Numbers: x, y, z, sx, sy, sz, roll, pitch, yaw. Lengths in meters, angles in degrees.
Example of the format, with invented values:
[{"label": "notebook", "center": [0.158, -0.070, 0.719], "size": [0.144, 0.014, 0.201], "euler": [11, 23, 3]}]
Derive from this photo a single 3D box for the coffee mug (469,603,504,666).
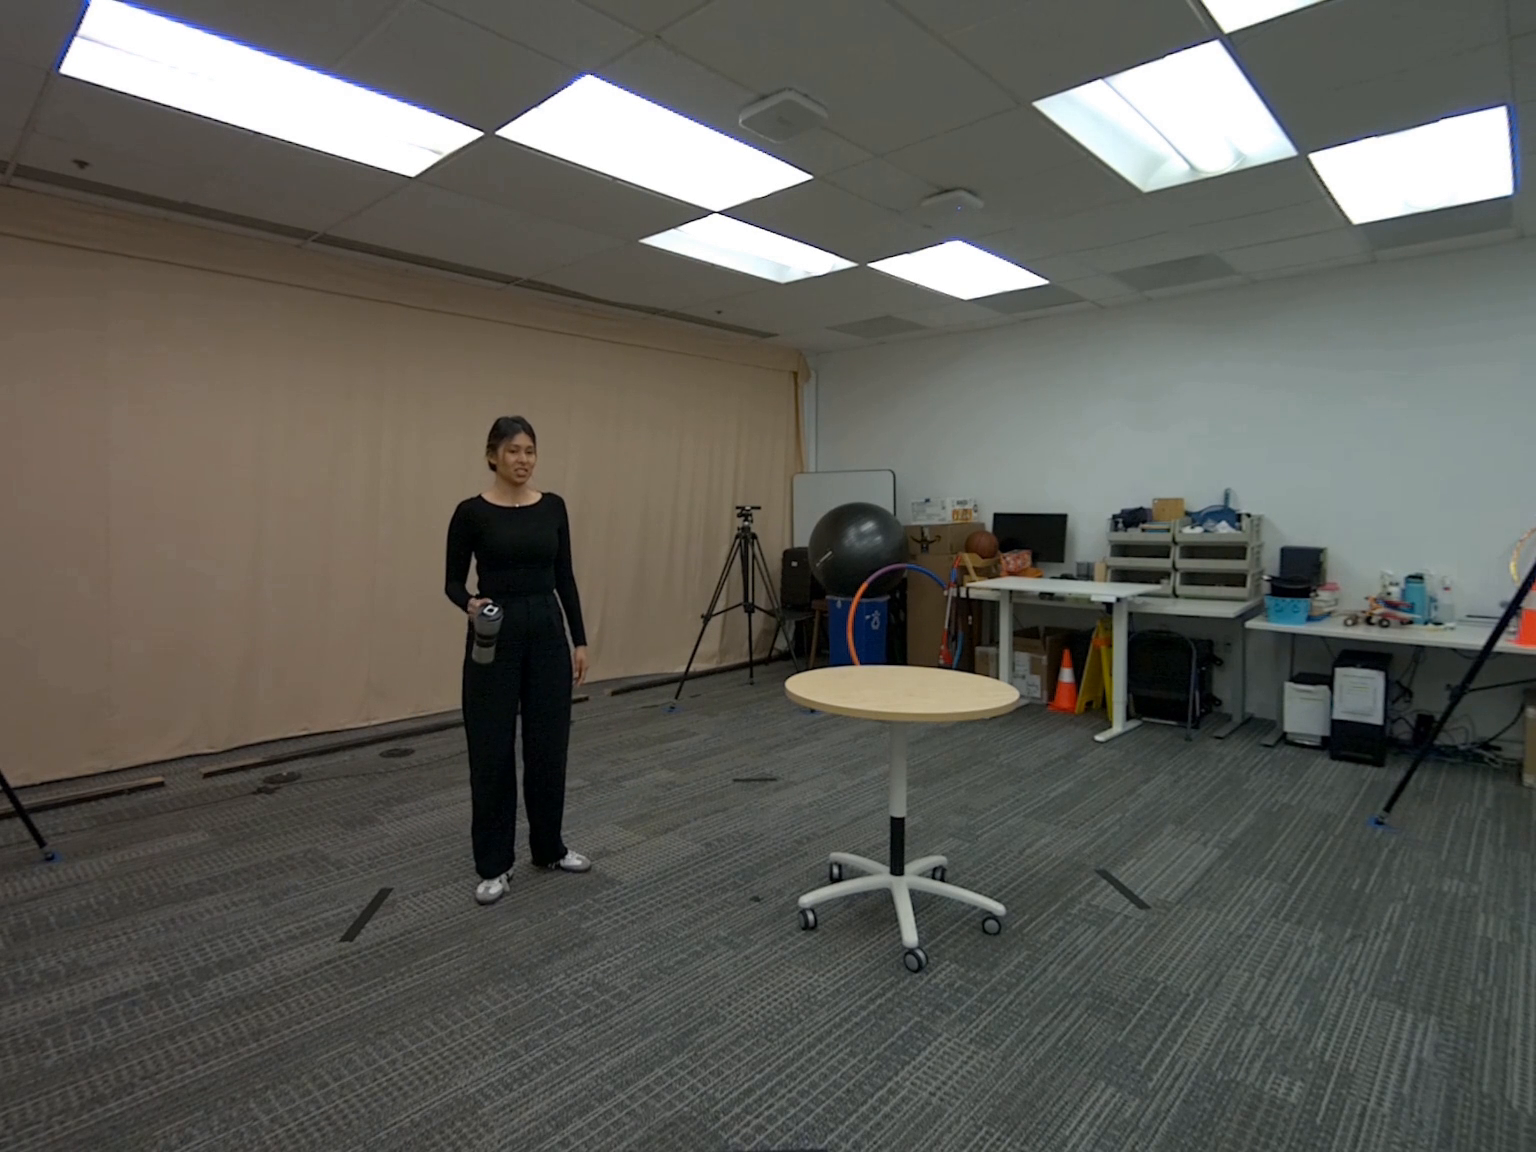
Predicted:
[{"label": "coffee mug", "center": [-0.953, 0.190, 2.807], "size": [0.086, 0.201, 0.126], "euler": [-12, 39, -33]}]
